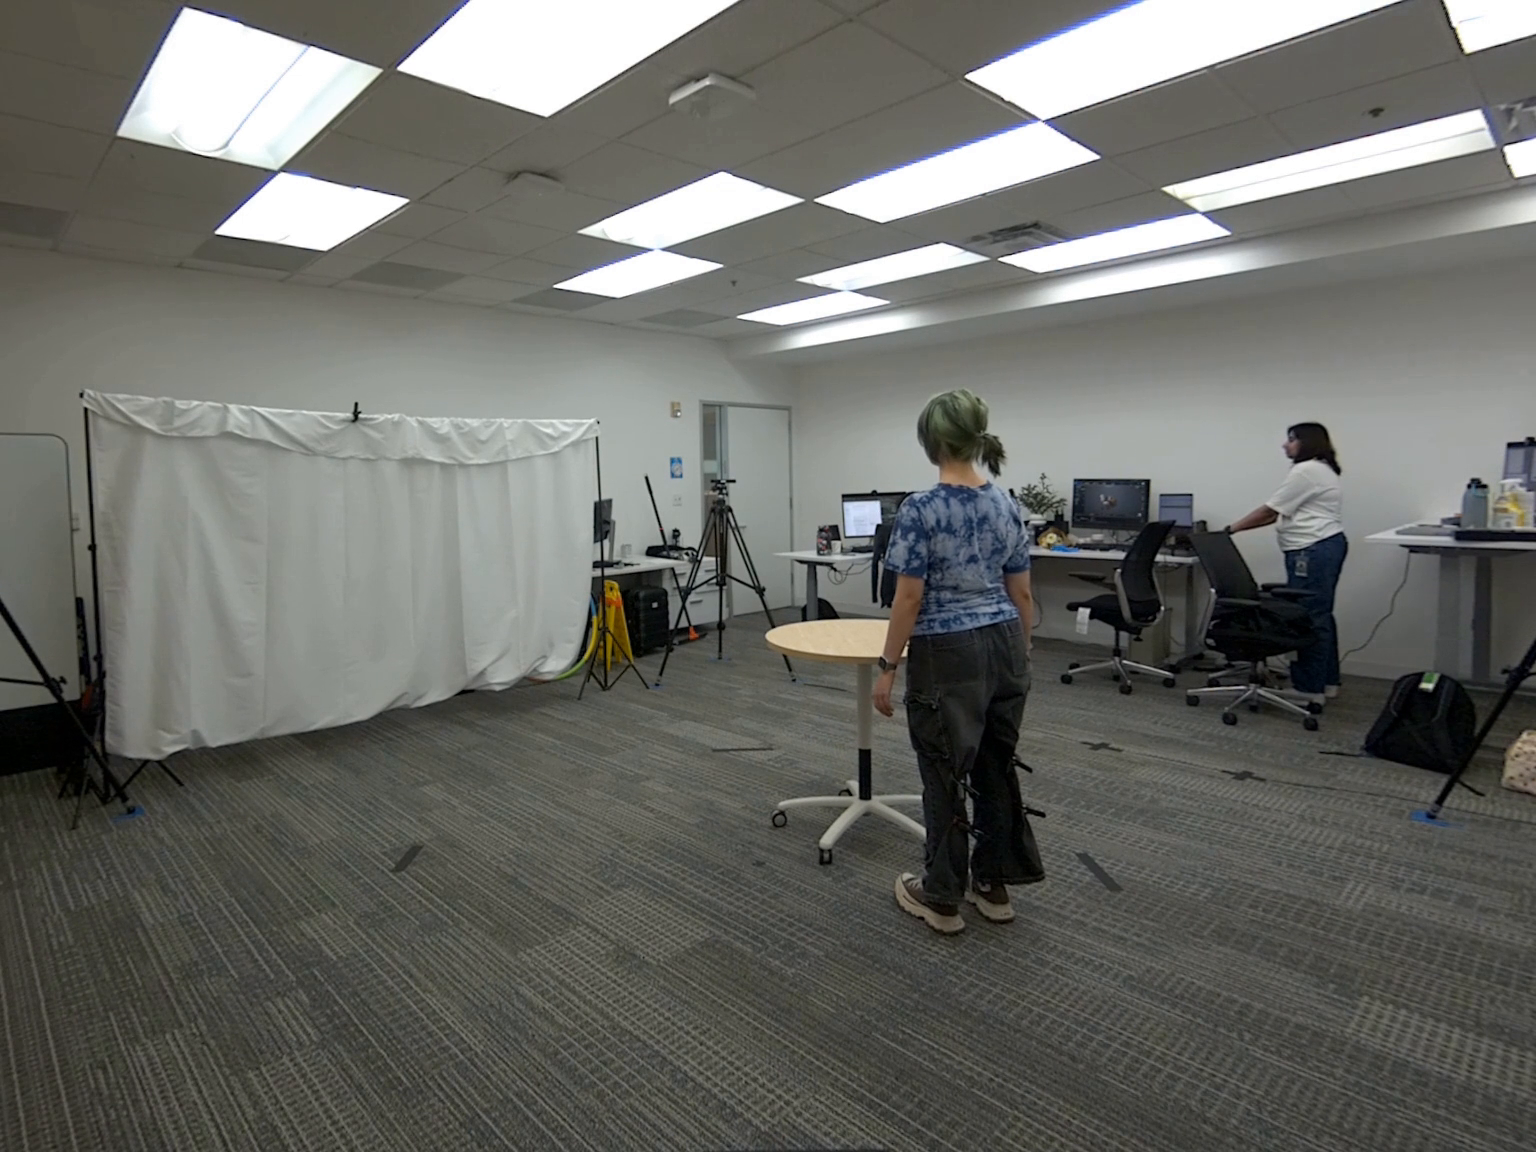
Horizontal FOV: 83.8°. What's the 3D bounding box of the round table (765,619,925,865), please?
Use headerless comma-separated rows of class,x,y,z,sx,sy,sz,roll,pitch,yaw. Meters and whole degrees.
round table,0.368,0.624,3.334,0.763,0.791,0.768,-1,5,-2
